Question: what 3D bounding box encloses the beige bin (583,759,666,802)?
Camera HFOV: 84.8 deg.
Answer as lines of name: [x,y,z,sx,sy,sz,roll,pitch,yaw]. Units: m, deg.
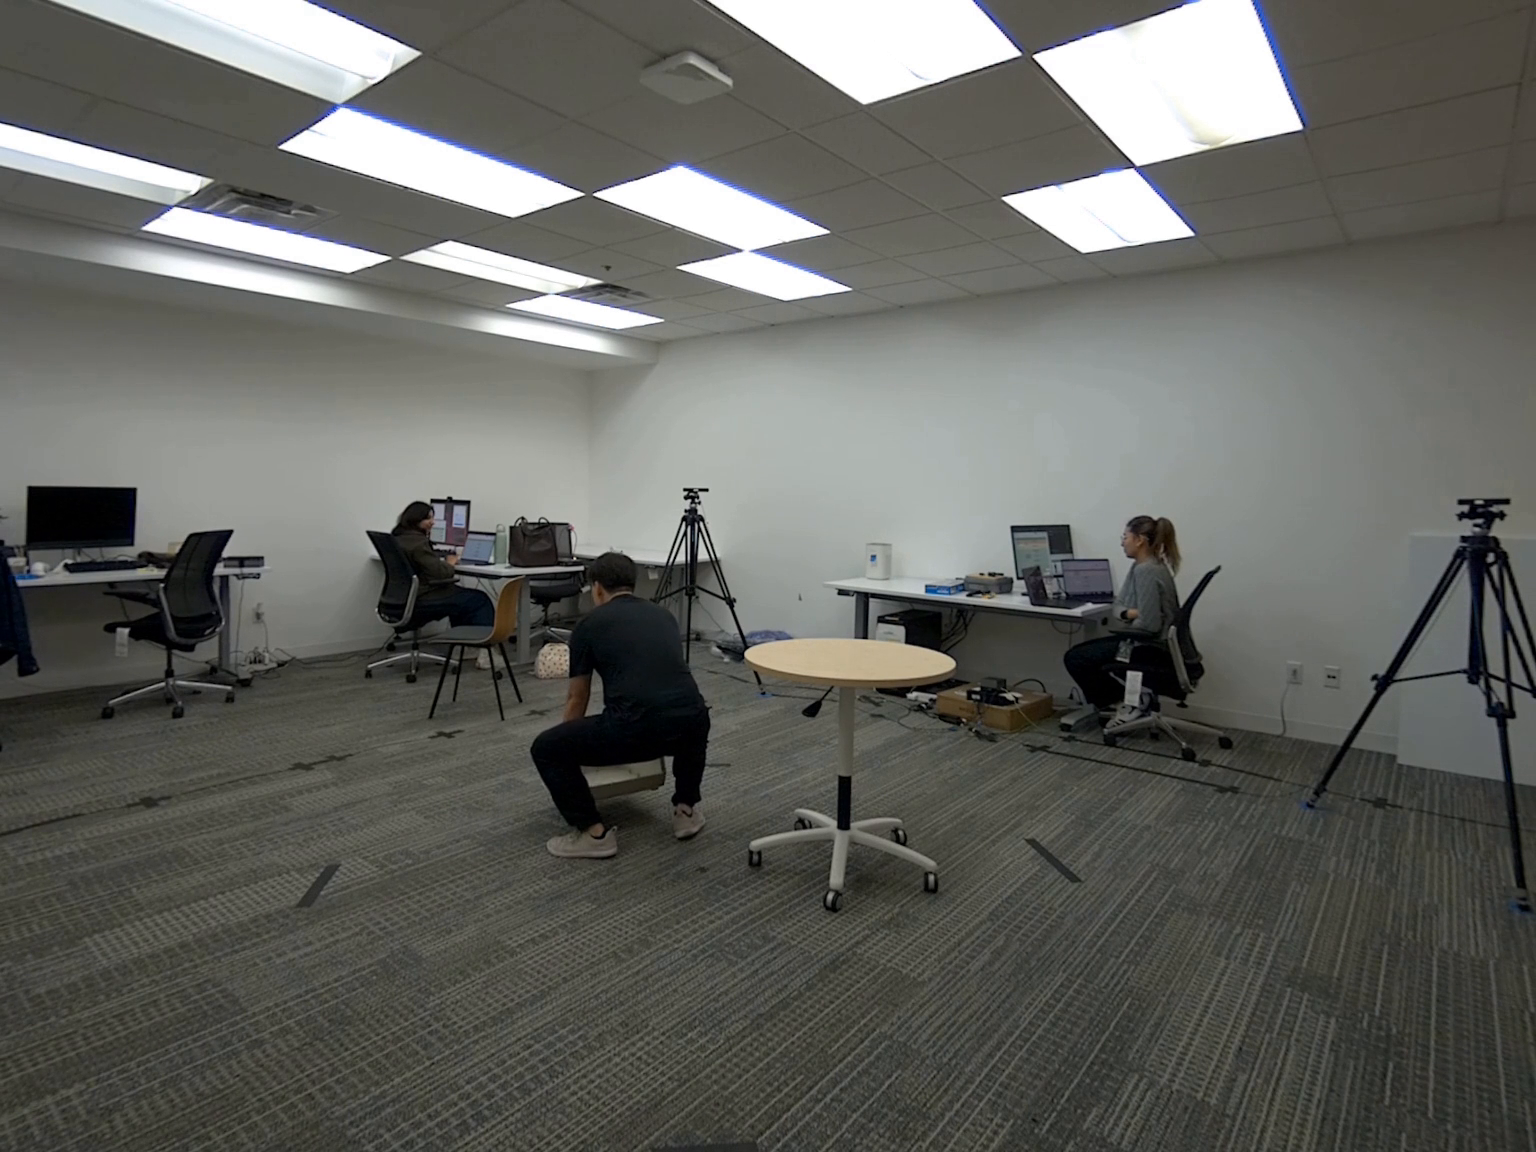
beige bin: [-0.720,0.830,3.660,0.411,0.188,0.389,-3,5,-33]
